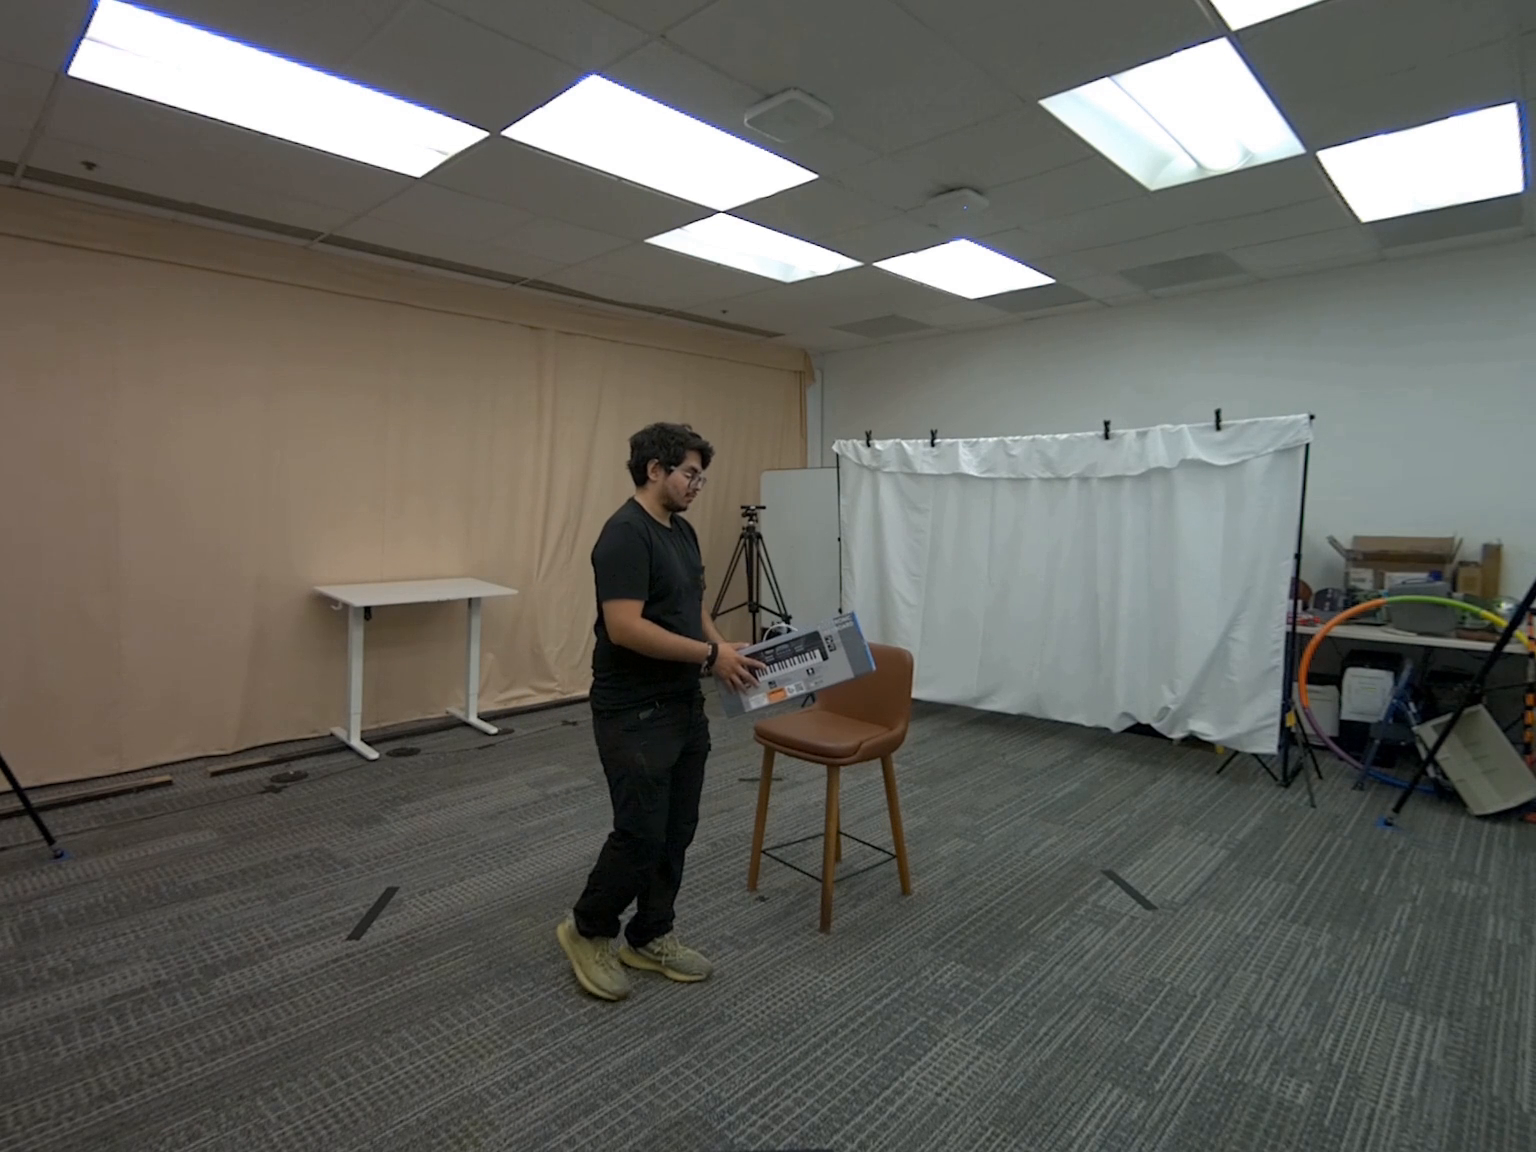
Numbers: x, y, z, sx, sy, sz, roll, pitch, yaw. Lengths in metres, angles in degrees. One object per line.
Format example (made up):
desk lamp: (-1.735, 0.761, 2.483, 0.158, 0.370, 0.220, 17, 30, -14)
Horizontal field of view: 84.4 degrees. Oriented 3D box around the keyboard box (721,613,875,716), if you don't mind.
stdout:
keyboard box: (0.071, 0.253, 2.348, 0.441, 0.176, 0.058, -20, -2, 14)
